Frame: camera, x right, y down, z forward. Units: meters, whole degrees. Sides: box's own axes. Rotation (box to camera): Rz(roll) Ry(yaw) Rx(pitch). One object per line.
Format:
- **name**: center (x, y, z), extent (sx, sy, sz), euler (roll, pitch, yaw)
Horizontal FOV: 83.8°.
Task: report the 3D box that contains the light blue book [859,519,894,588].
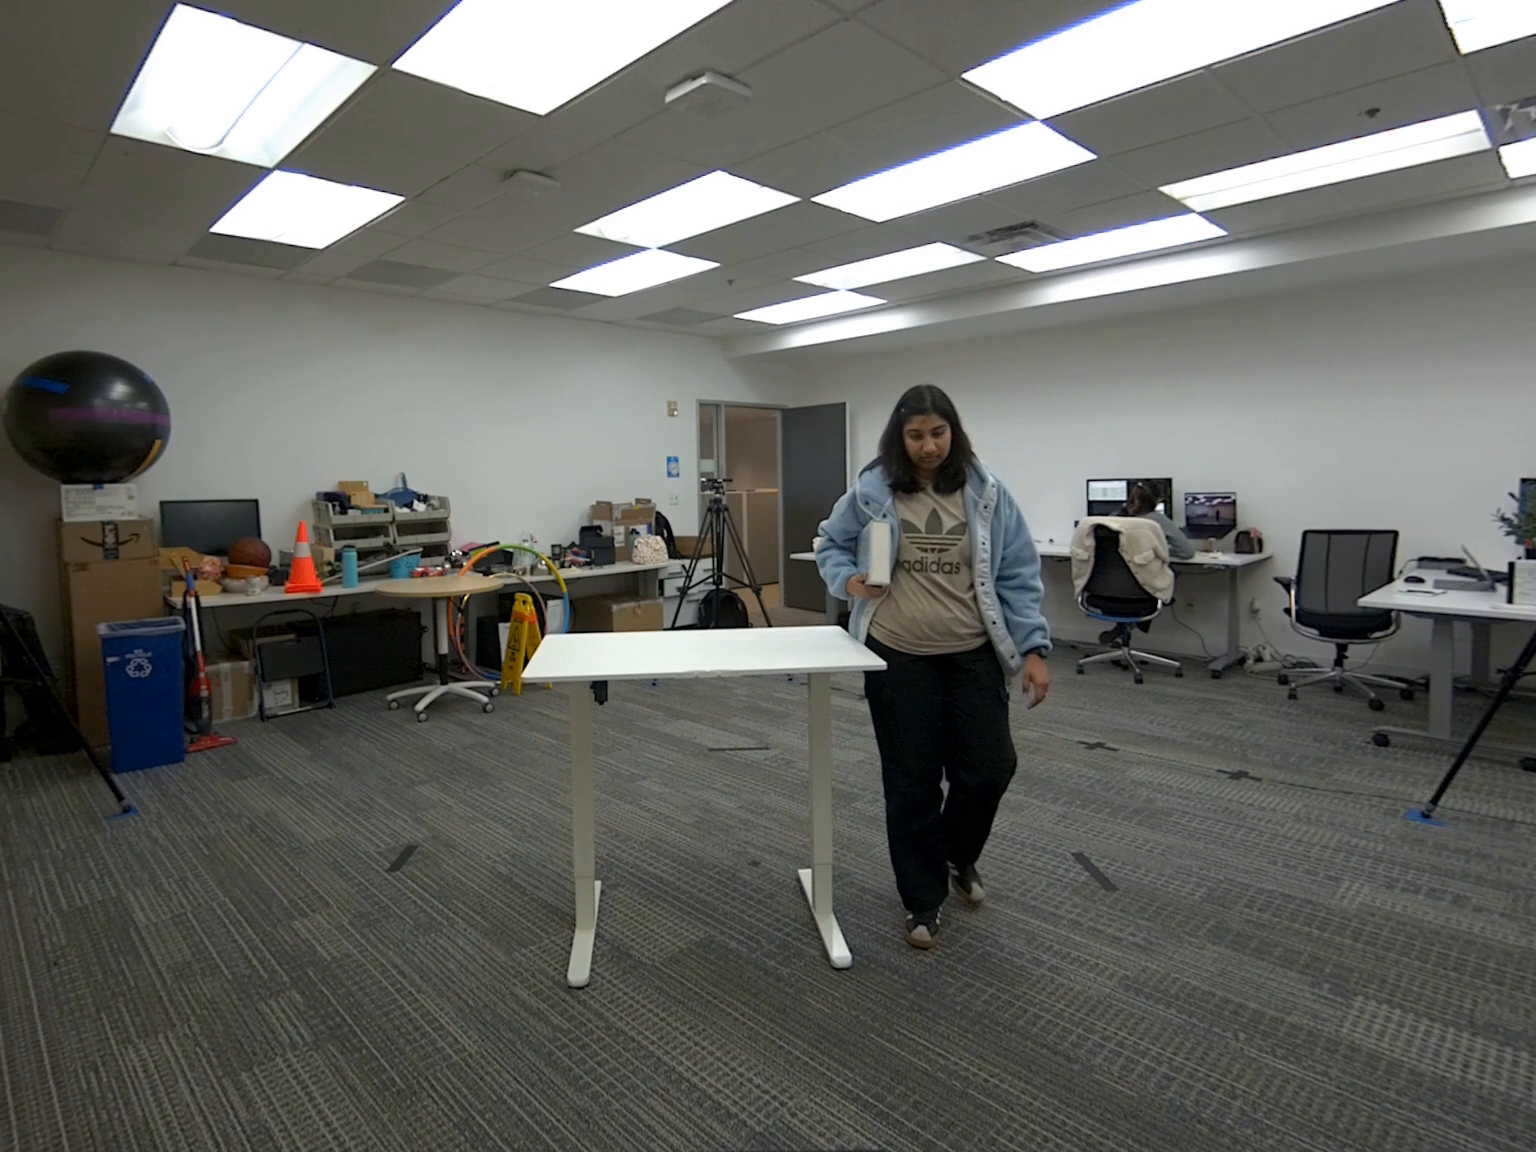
- **light blue book**: center (0.321, -0.063, 2.639), extent (0.059, 0.192, 0.260), euler (0, -5, -5)
